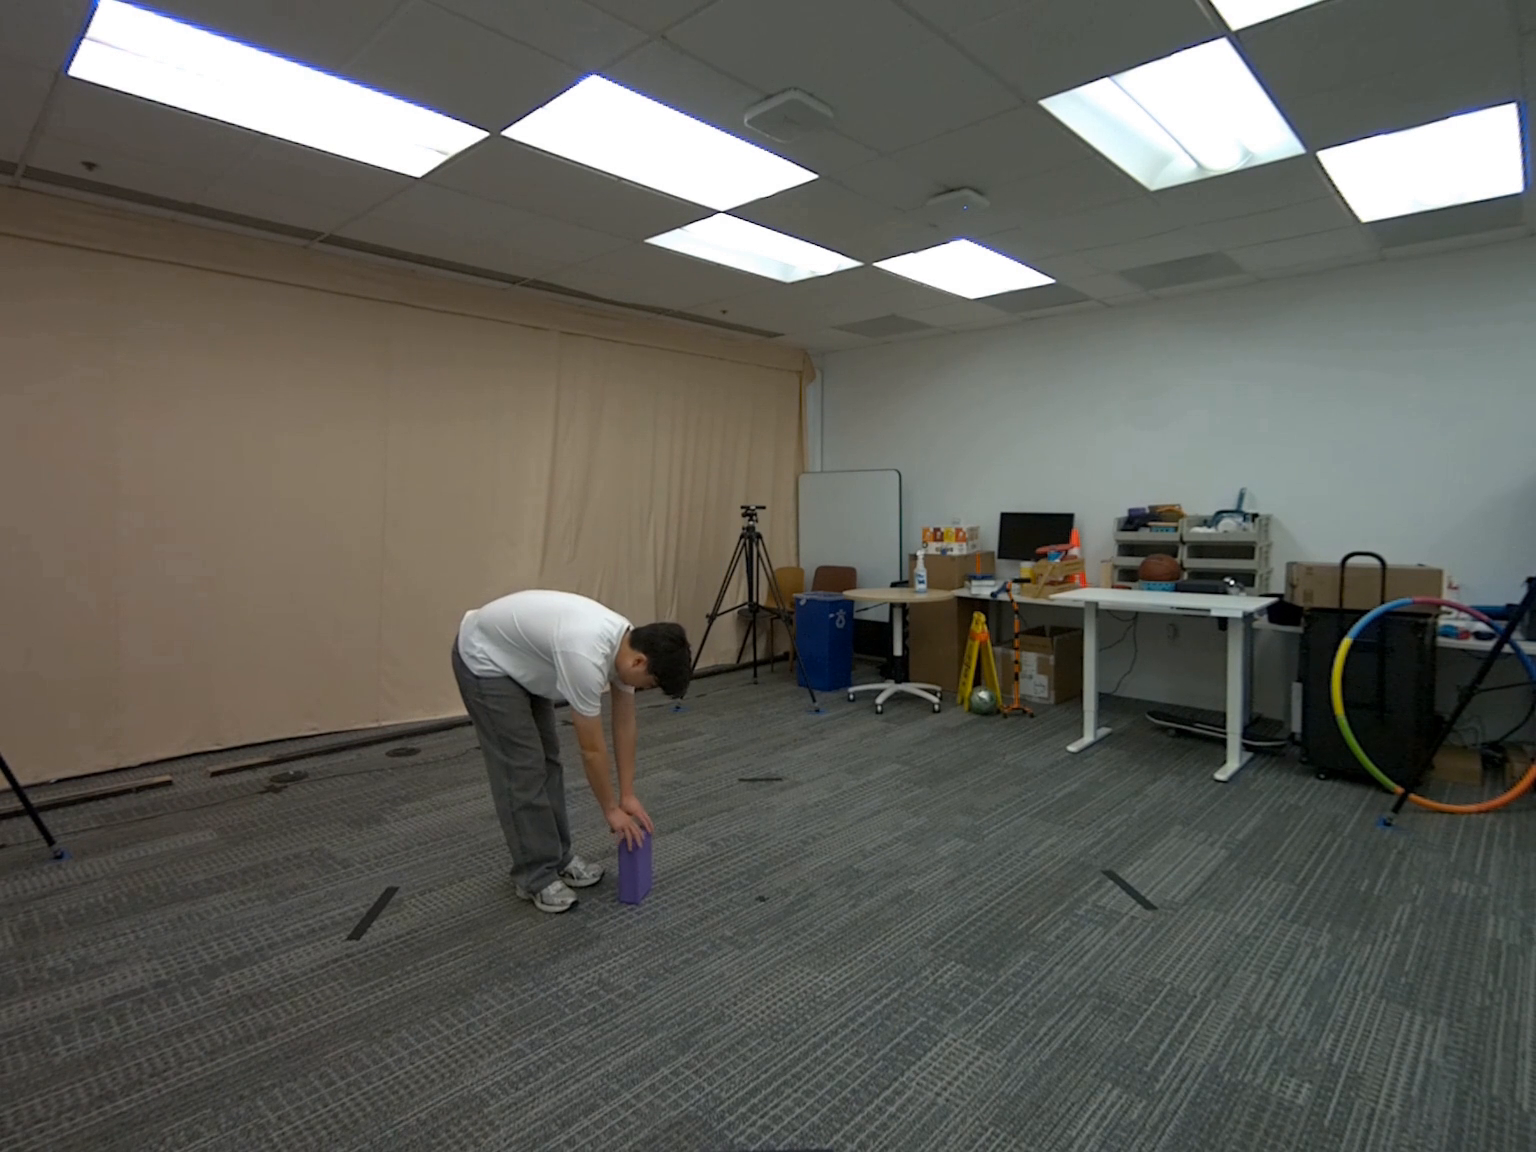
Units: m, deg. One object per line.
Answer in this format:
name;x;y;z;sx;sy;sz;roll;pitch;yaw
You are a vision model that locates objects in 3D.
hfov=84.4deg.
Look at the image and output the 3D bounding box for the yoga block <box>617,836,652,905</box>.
yoga block;-0.472;1.039;3.004;0.077;0.229;0.147;0;3;9
